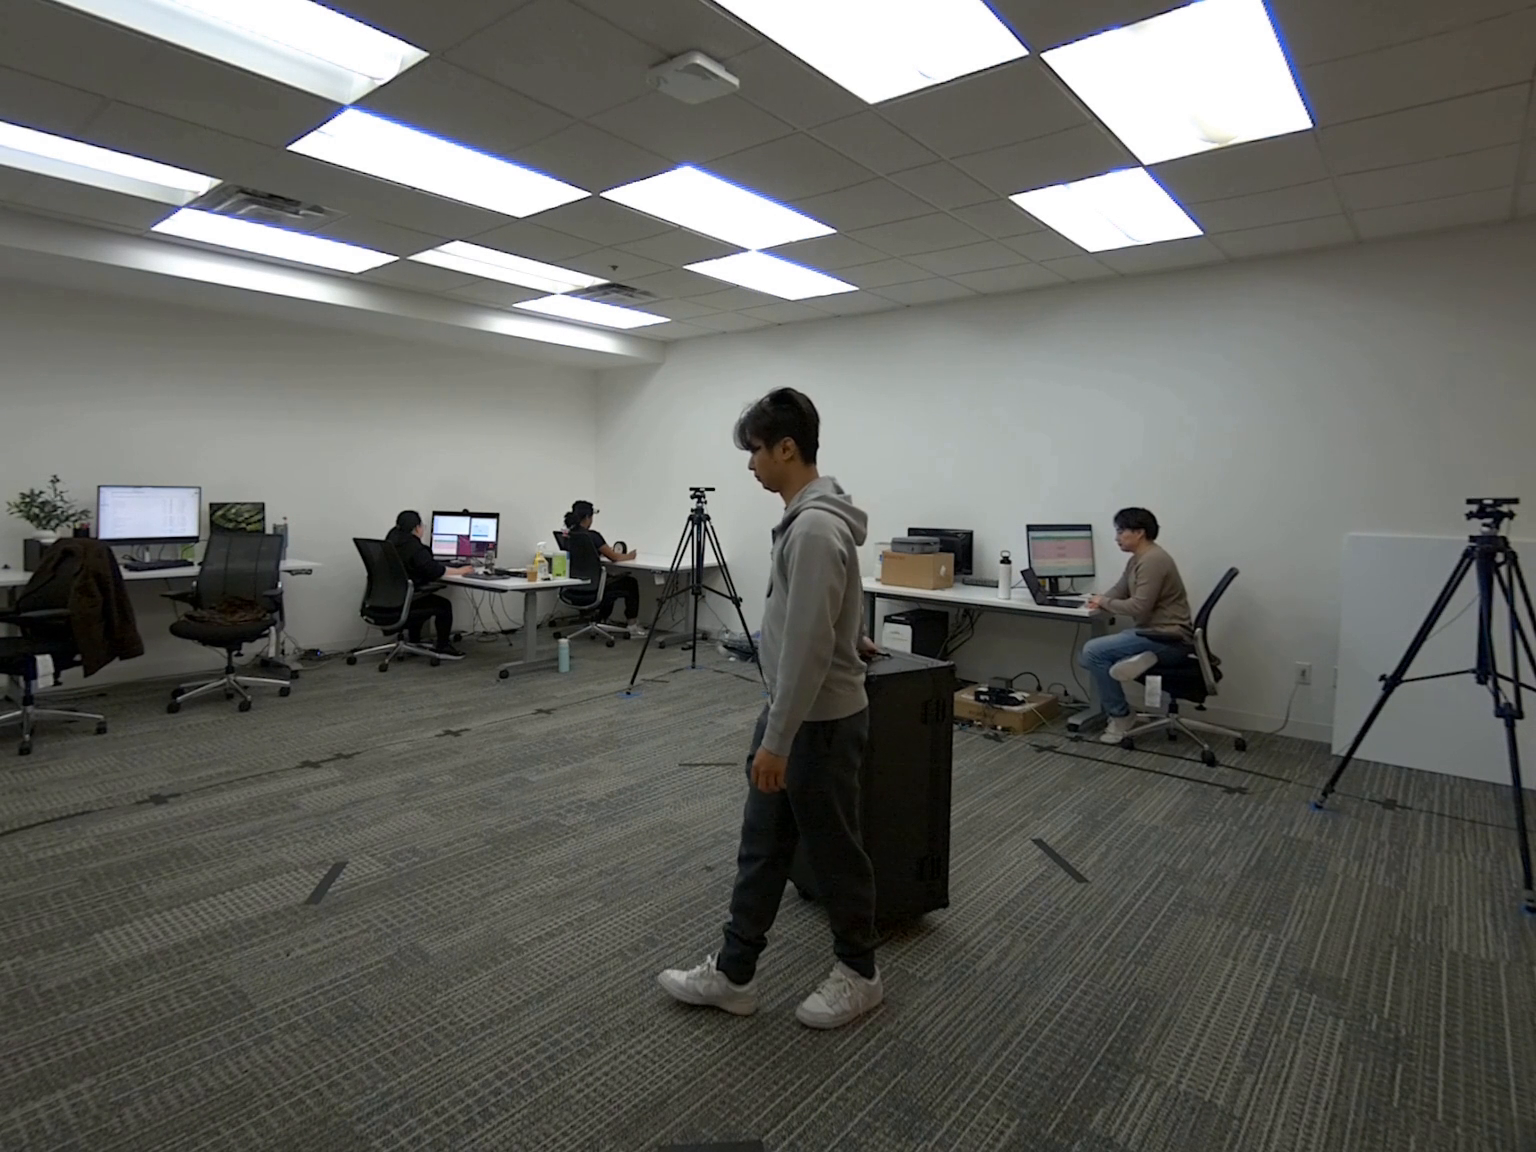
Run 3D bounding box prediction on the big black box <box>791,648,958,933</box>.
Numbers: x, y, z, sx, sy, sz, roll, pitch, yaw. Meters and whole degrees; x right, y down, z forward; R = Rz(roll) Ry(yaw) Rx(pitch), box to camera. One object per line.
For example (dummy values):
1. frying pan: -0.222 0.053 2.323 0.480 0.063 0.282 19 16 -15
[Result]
1. big black box: 0.301 0.680 2.812 0.386 0.858 0.537 -2 5 -31
